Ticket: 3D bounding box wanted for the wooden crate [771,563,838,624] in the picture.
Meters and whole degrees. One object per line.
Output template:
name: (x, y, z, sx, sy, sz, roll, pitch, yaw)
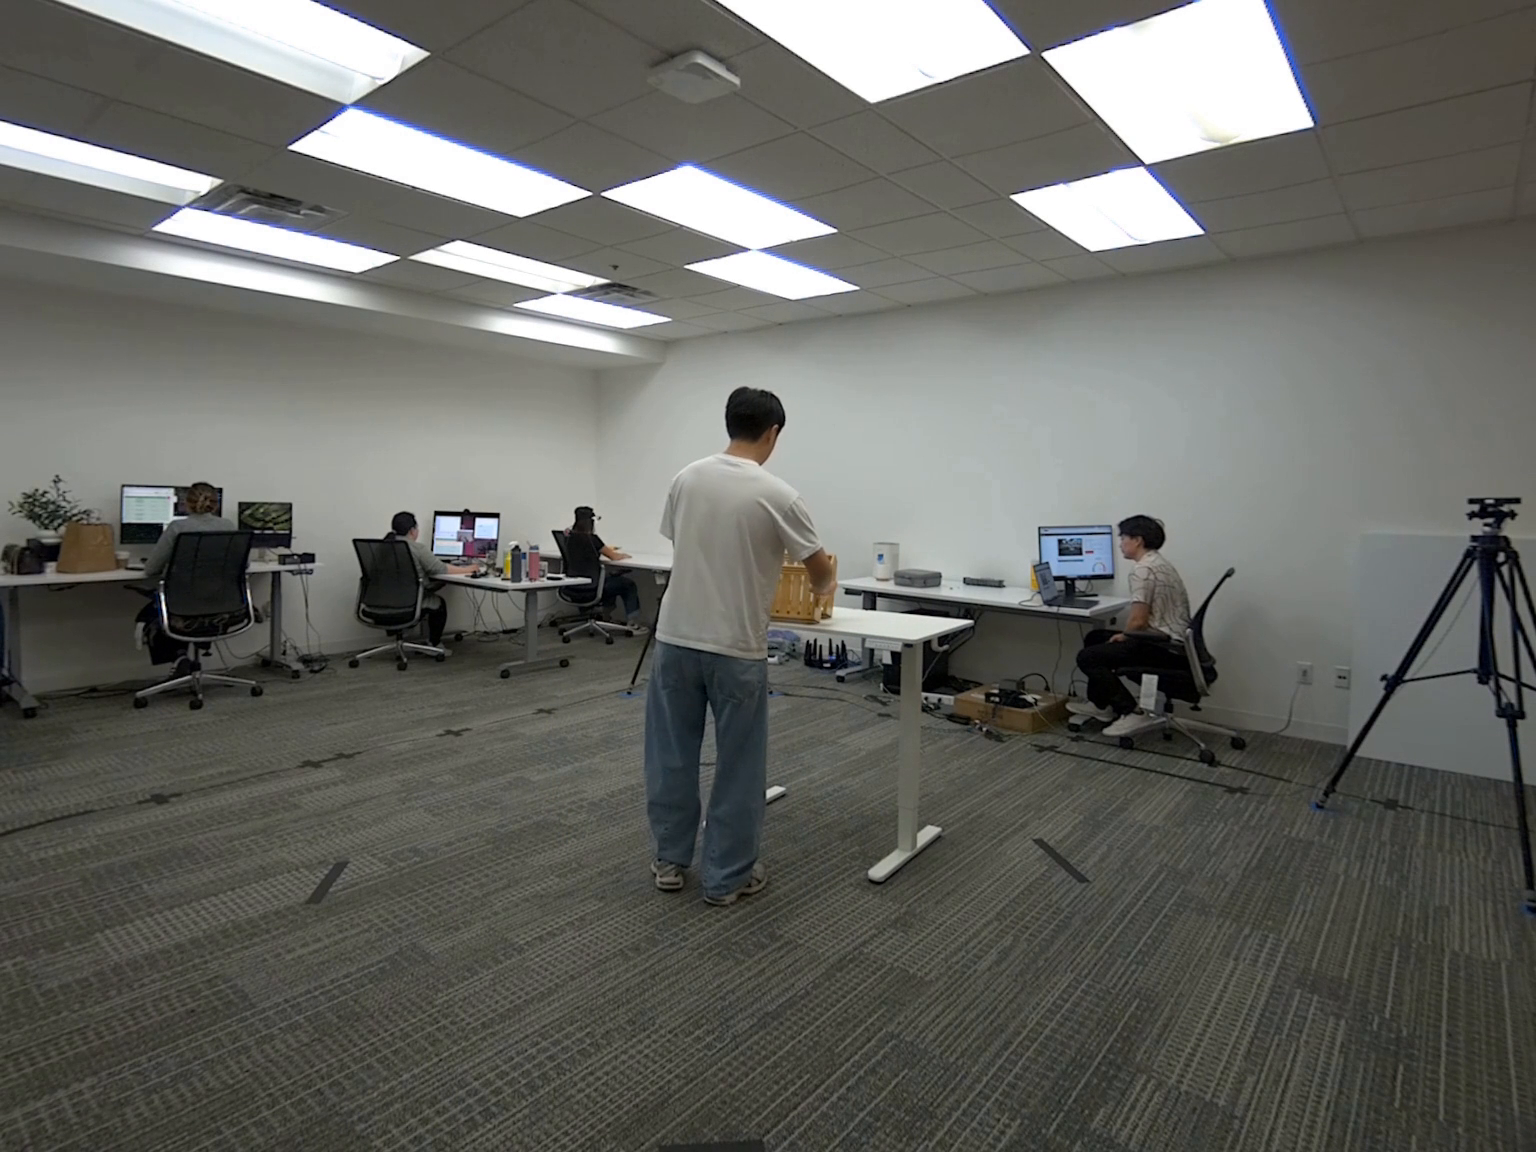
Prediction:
wooden crate: (0.084, 0.025, 3.387, 0.332, 0.305, 0.264, 2, -13, 21)
